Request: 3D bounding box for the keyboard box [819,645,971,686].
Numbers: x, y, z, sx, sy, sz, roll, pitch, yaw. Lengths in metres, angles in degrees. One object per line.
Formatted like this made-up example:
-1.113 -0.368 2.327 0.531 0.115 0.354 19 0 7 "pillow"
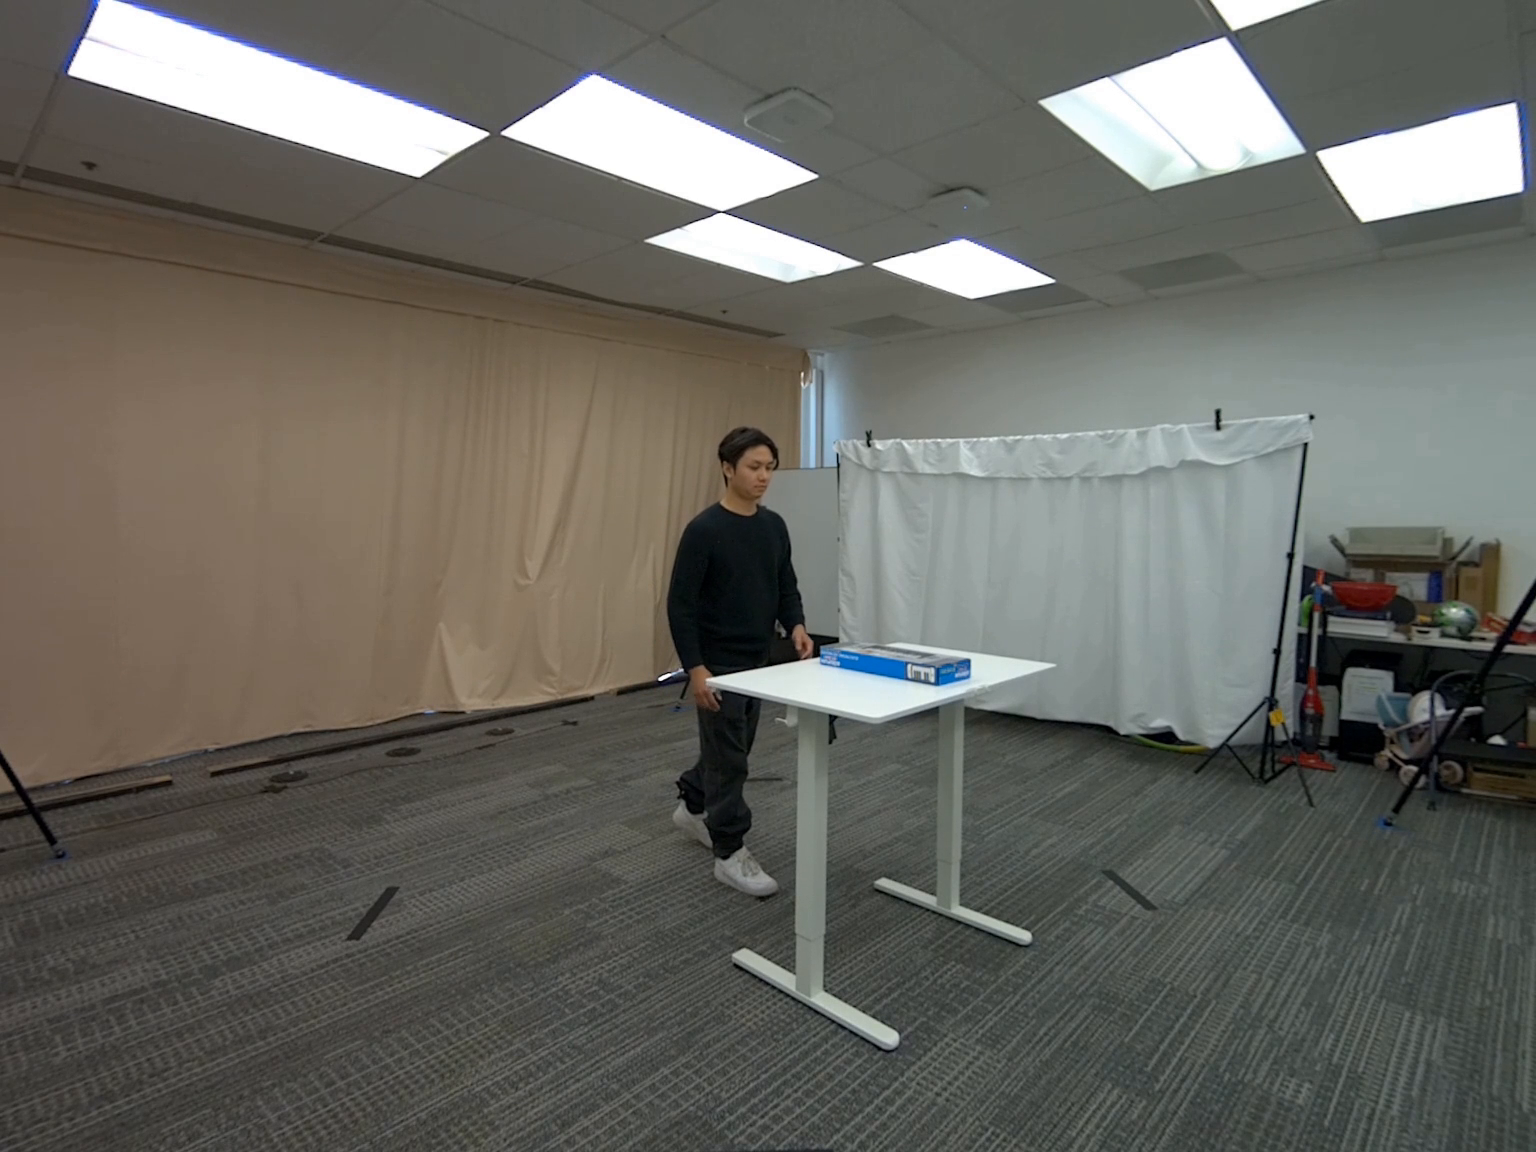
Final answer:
0.389 0.264 2.583 0.170 0.059 0.451 -4 6 -44 "keyboard box"
